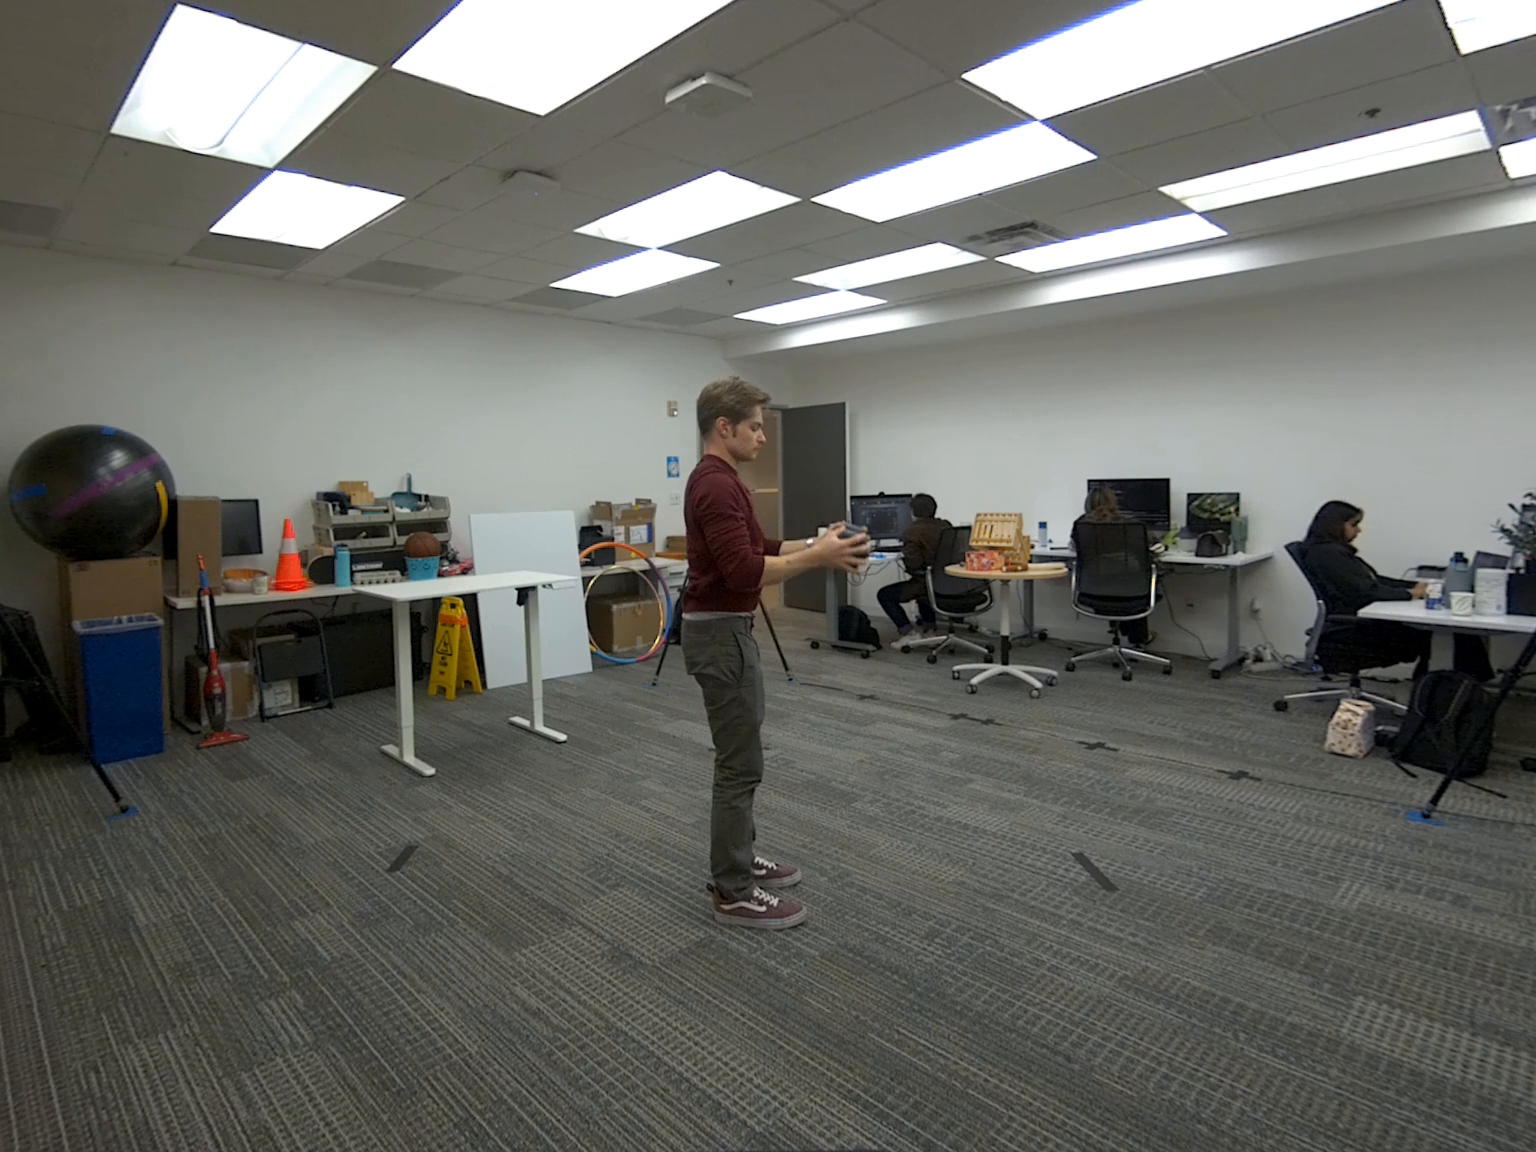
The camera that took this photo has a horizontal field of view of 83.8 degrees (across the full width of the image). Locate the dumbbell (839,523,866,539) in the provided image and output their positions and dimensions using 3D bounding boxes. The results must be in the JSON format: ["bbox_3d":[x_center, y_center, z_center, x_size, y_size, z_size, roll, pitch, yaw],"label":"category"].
[{"bbox_3d":[0.233,-0.087,2.742,0.123,0.108,0.294,-26,5,7],"label":"dumbbell"}]
